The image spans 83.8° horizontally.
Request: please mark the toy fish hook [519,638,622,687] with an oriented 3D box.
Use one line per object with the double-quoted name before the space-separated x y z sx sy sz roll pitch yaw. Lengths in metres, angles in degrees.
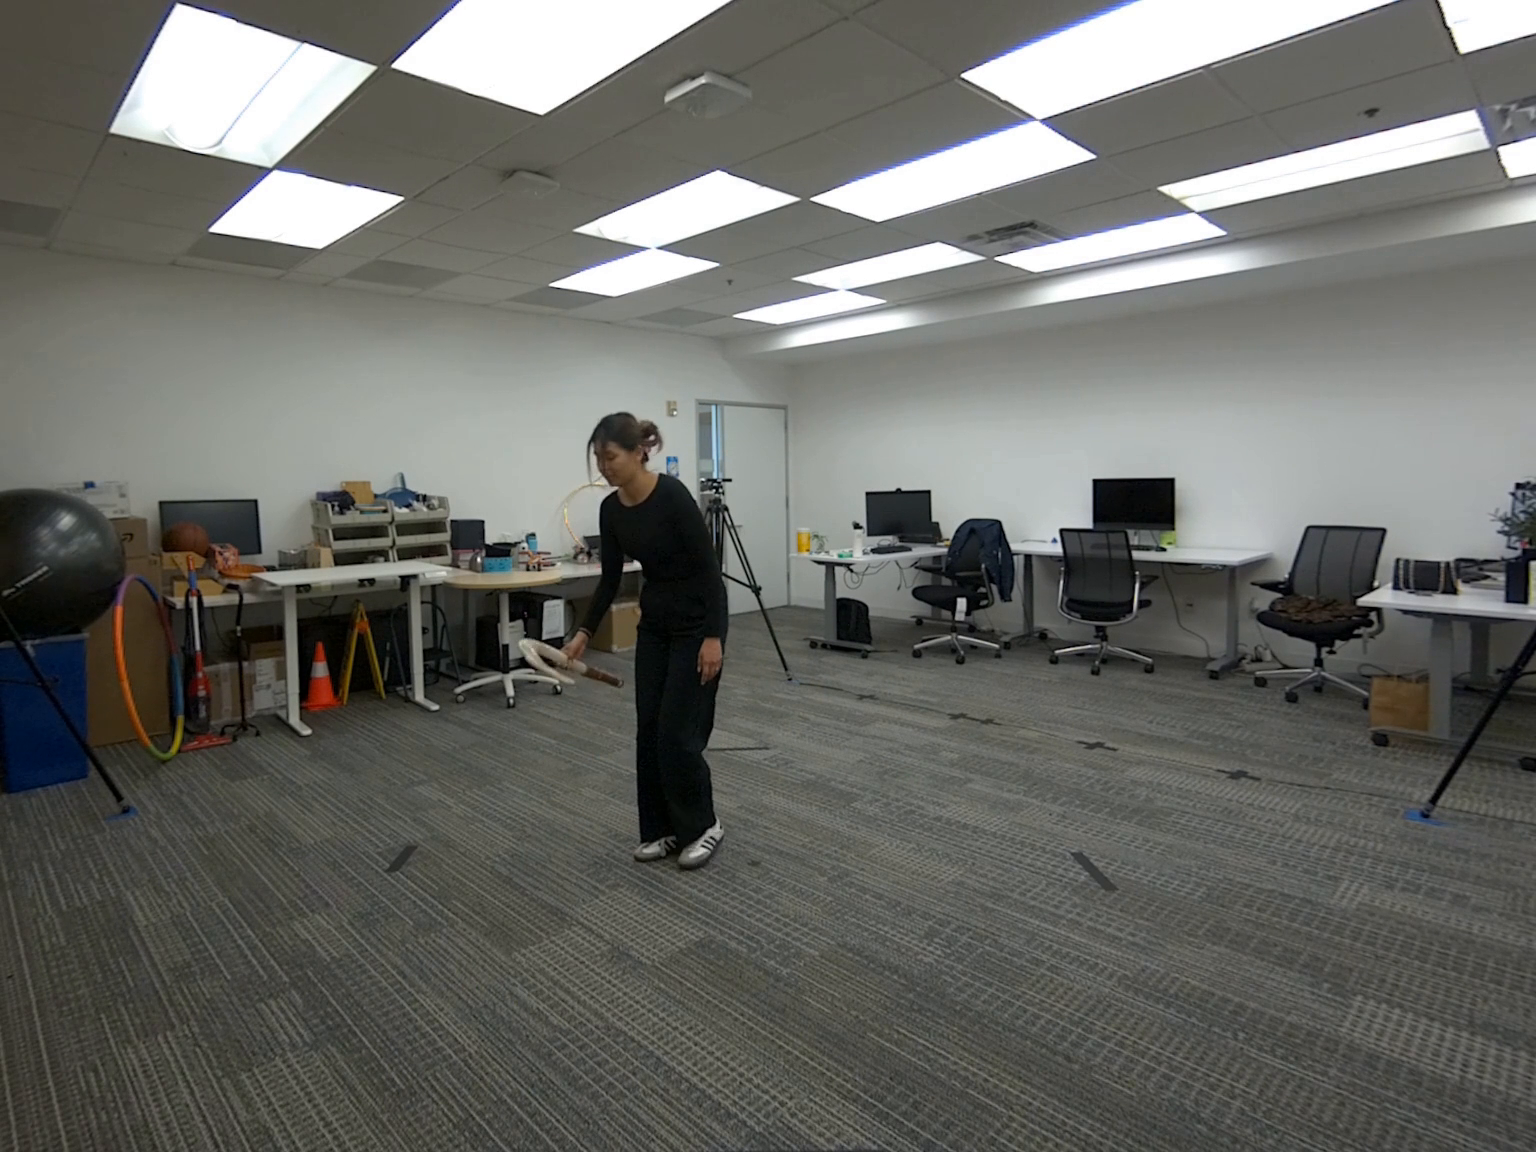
"toy fish hook" -0.674 0.361 3.065 0.487 0.048 0.234 31 11 -44
